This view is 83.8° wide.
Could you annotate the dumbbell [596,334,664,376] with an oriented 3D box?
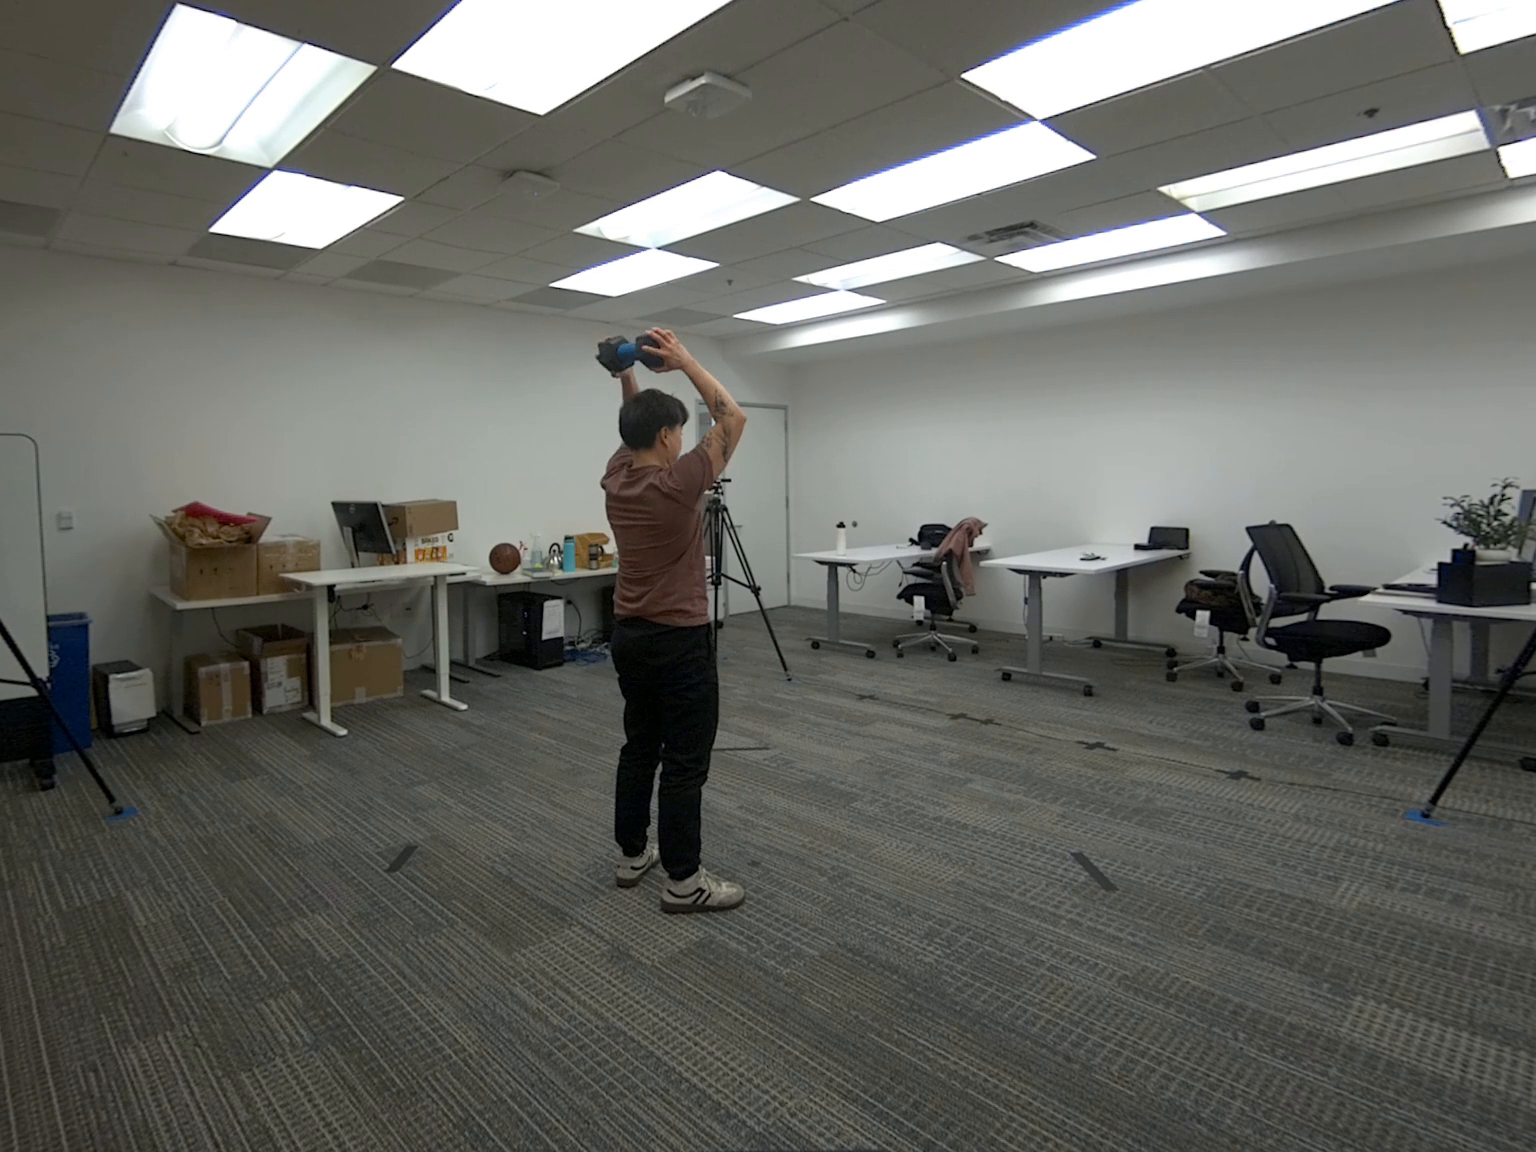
[{"bbox_3d":[-0.429,-0.727,2.789,0.303,0.109,0.118,9,-22,46],"label":"dumbbell"}]
